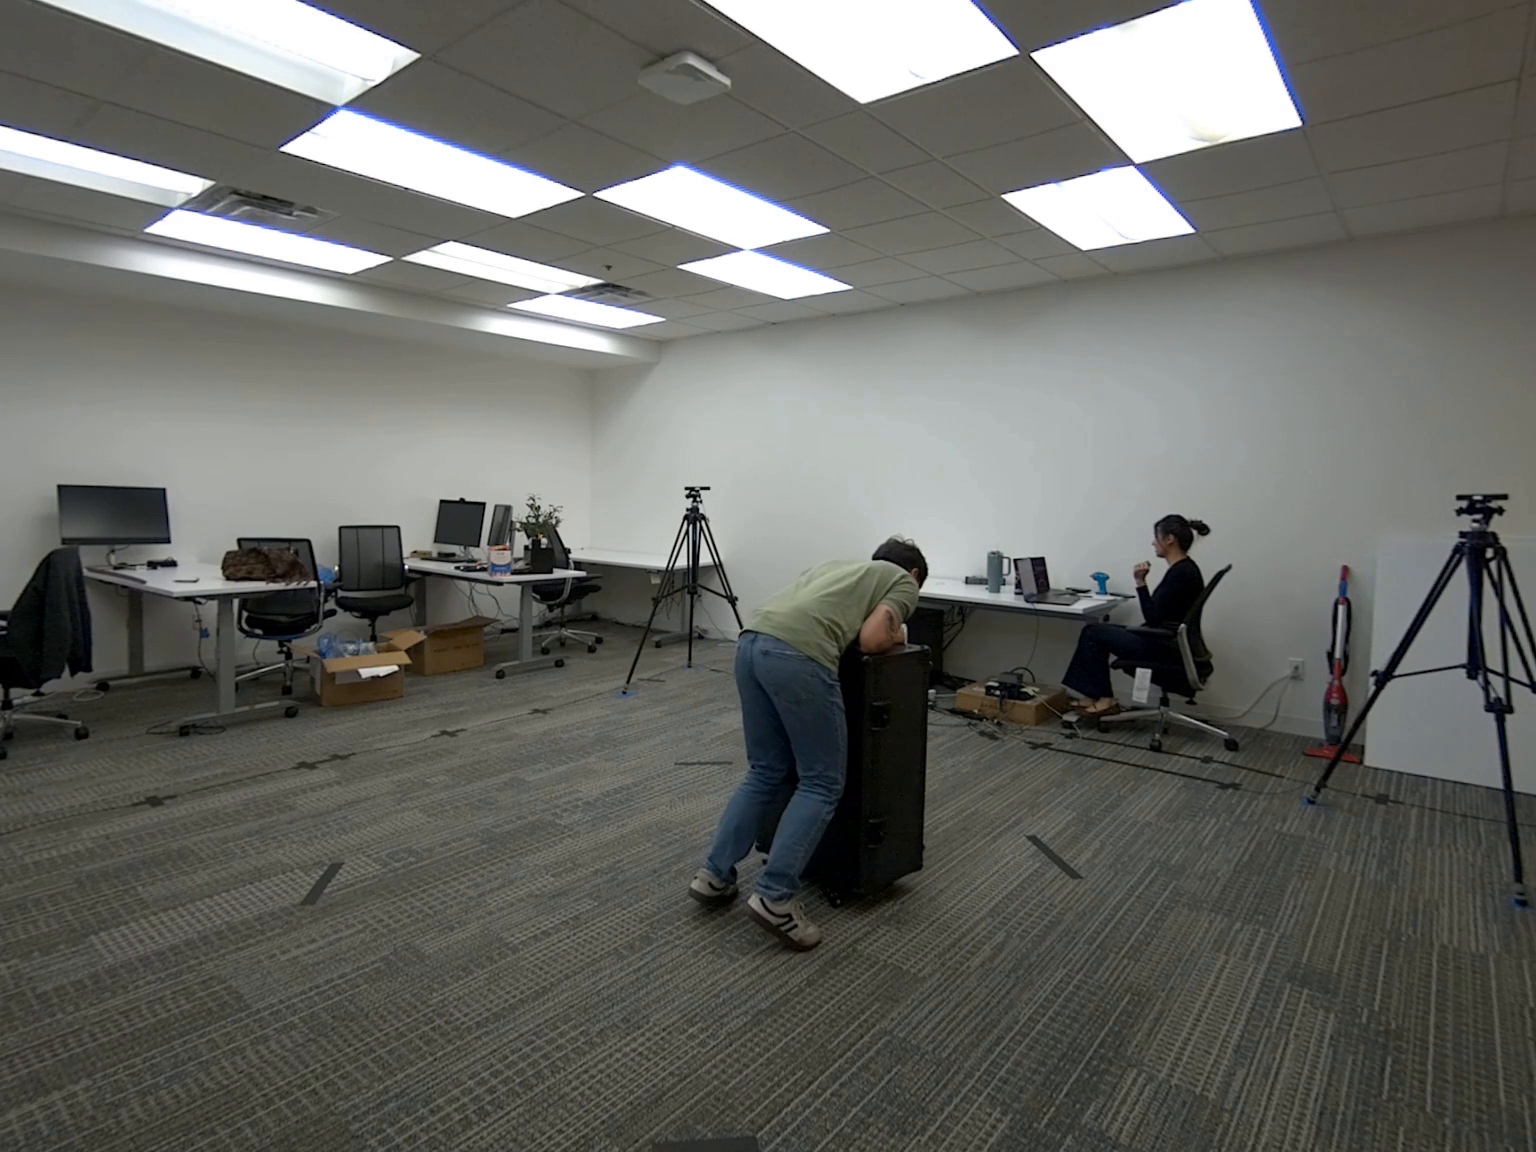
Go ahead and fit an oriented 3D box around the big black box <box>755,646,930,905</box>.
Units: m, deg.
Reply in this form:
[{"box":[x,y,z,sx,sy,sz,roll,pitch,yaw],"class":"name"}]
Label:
[{"box":[0.258,0.660,3.043,0.384,0.860,0.539,0,3,-42],"class":"big black box"}]
